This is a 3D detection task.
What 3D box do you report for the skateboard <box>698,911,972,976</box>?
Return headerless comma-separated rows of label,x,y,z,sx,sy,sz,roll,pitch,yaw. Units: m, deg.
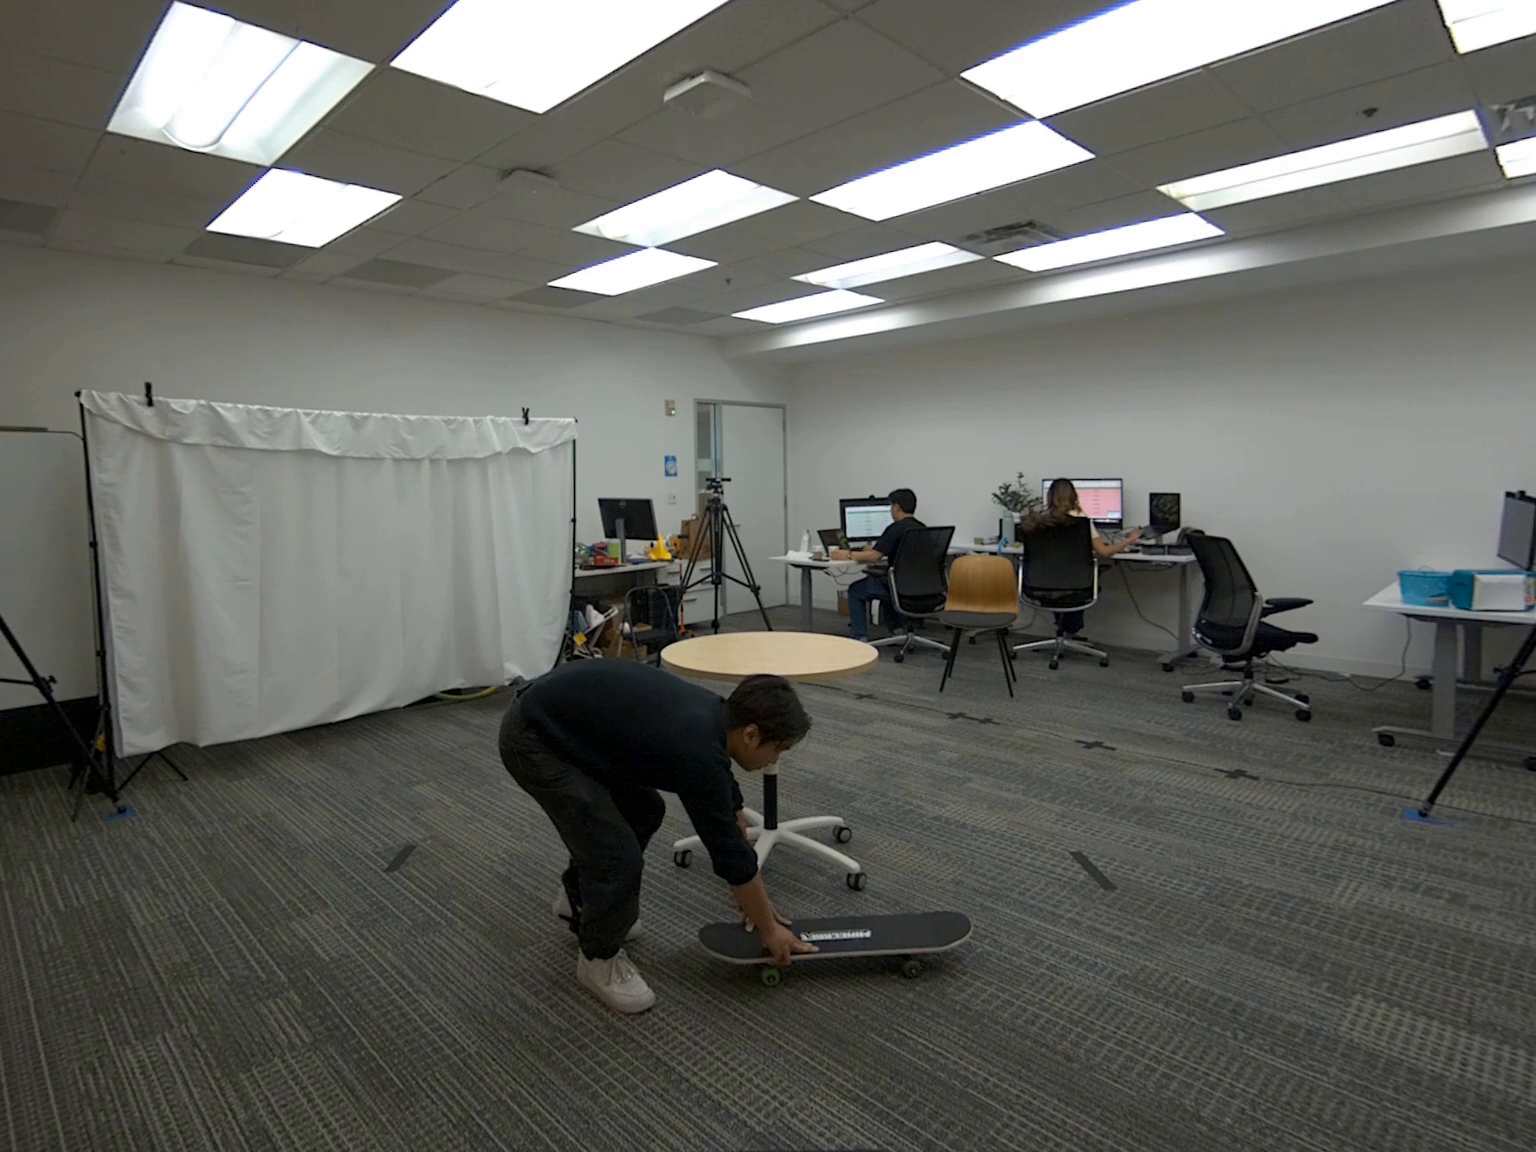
skateboard,0.196,1.053,2.453,0.783,0.110,0.195,-2,6,-3
